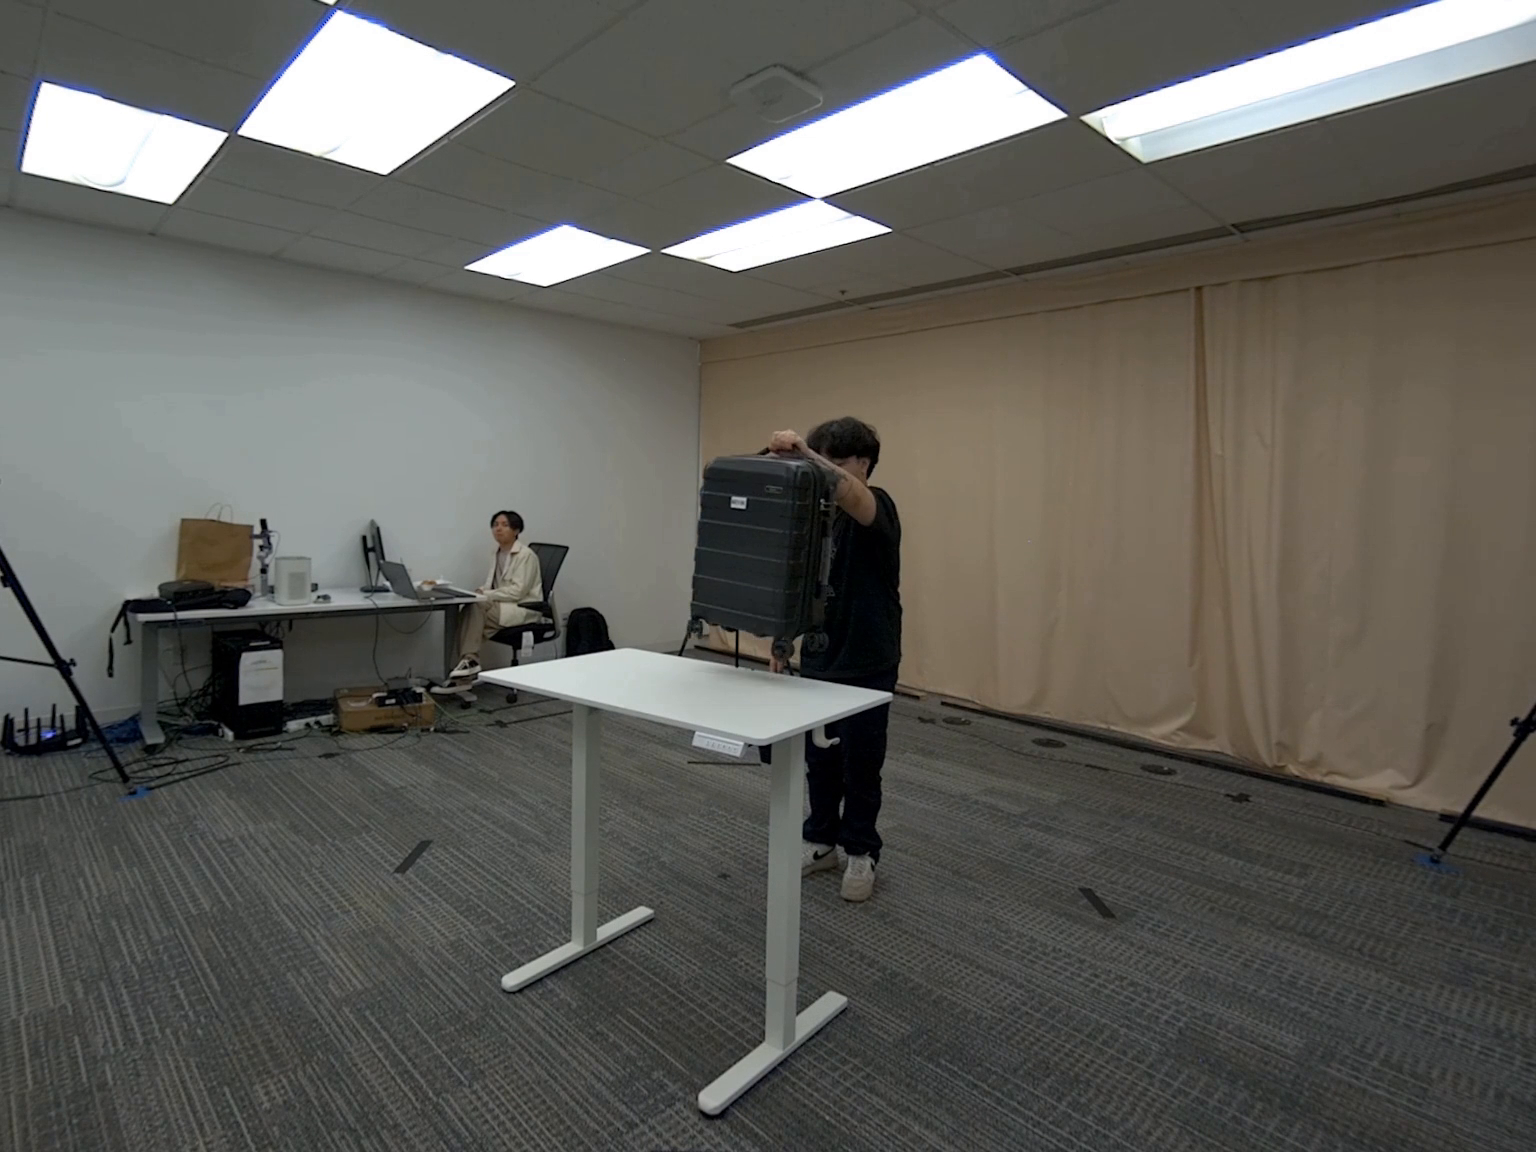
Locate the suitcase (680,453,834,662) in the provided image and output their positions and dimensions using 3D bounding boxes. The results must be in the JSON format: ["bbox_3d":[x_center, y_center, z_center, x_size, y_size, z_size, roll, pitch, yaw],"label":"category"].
[{"bbox_3d":[-0.015,-0.073,2.426,0.385,0.547,0.243,9,6,36],"label":"suitcase"}]
